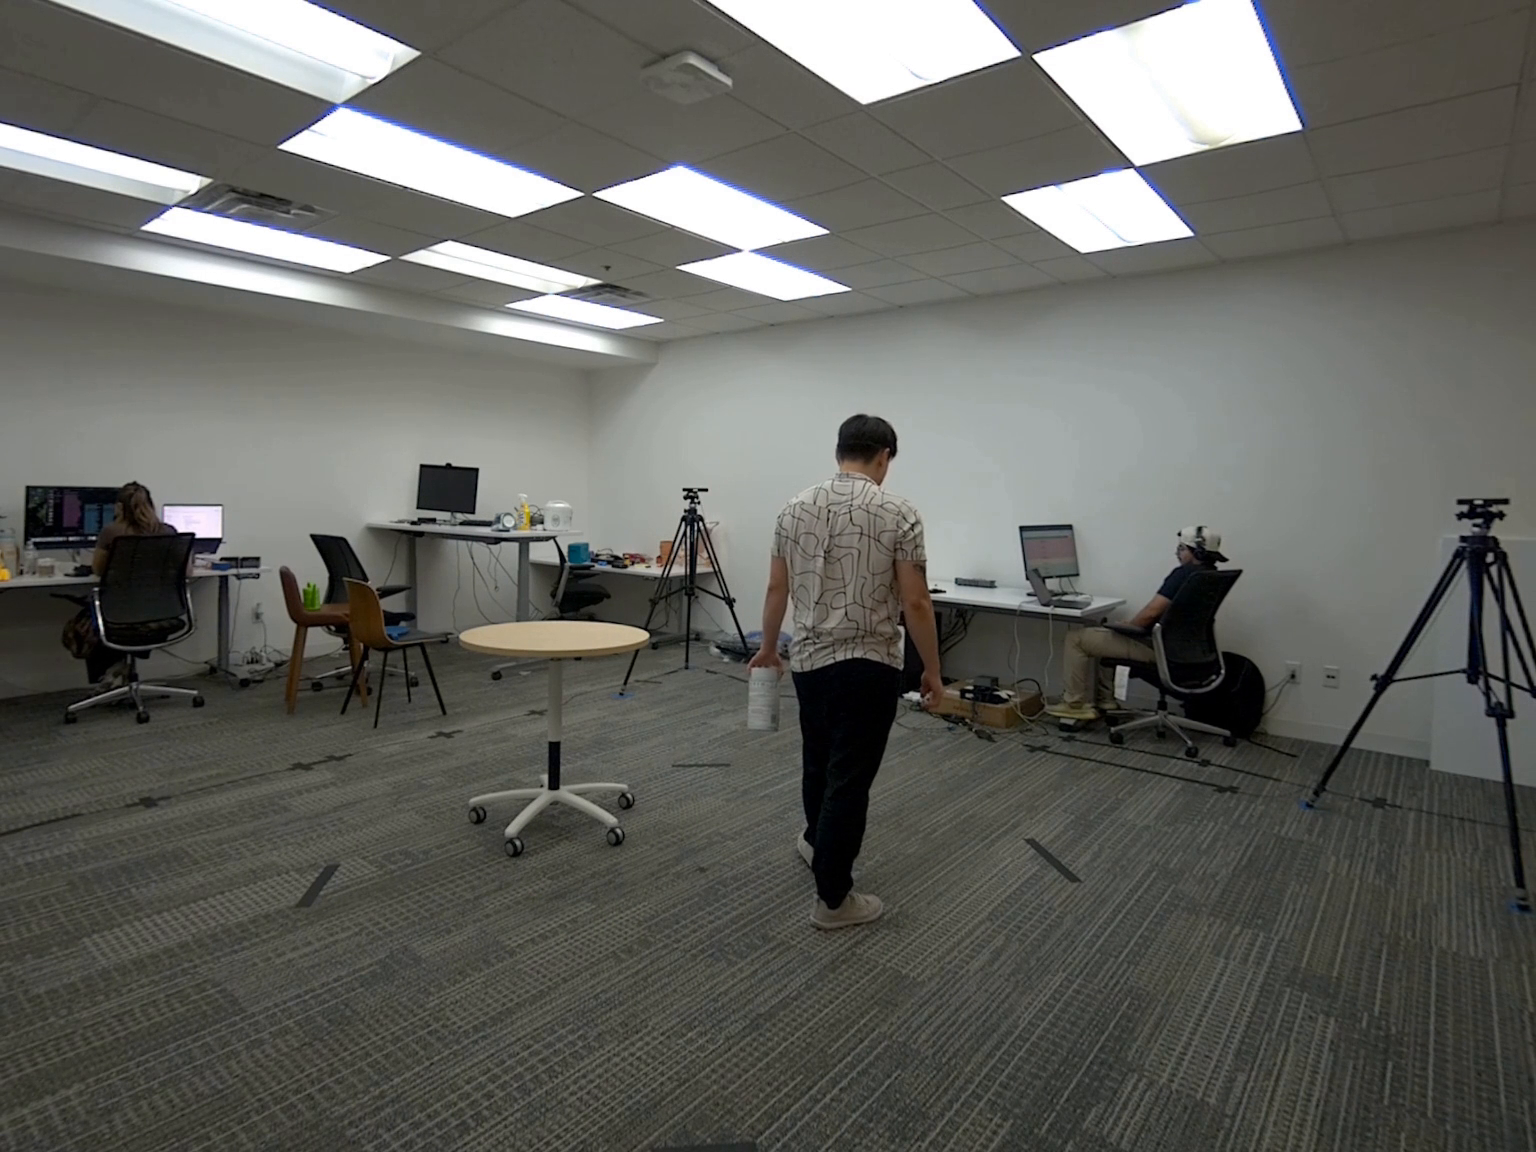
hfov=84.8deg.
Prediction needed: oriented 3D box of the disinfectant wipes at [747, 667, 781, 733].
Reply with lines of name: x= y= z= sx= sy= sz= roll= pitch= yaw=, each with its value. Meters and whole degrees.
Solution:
disinfectant wipes: x=-0.017 y=0.432 z=3.002 sx=0.118 sy=0.219 sz=0.117 roll=3 pitch=-7 yaw=-2
